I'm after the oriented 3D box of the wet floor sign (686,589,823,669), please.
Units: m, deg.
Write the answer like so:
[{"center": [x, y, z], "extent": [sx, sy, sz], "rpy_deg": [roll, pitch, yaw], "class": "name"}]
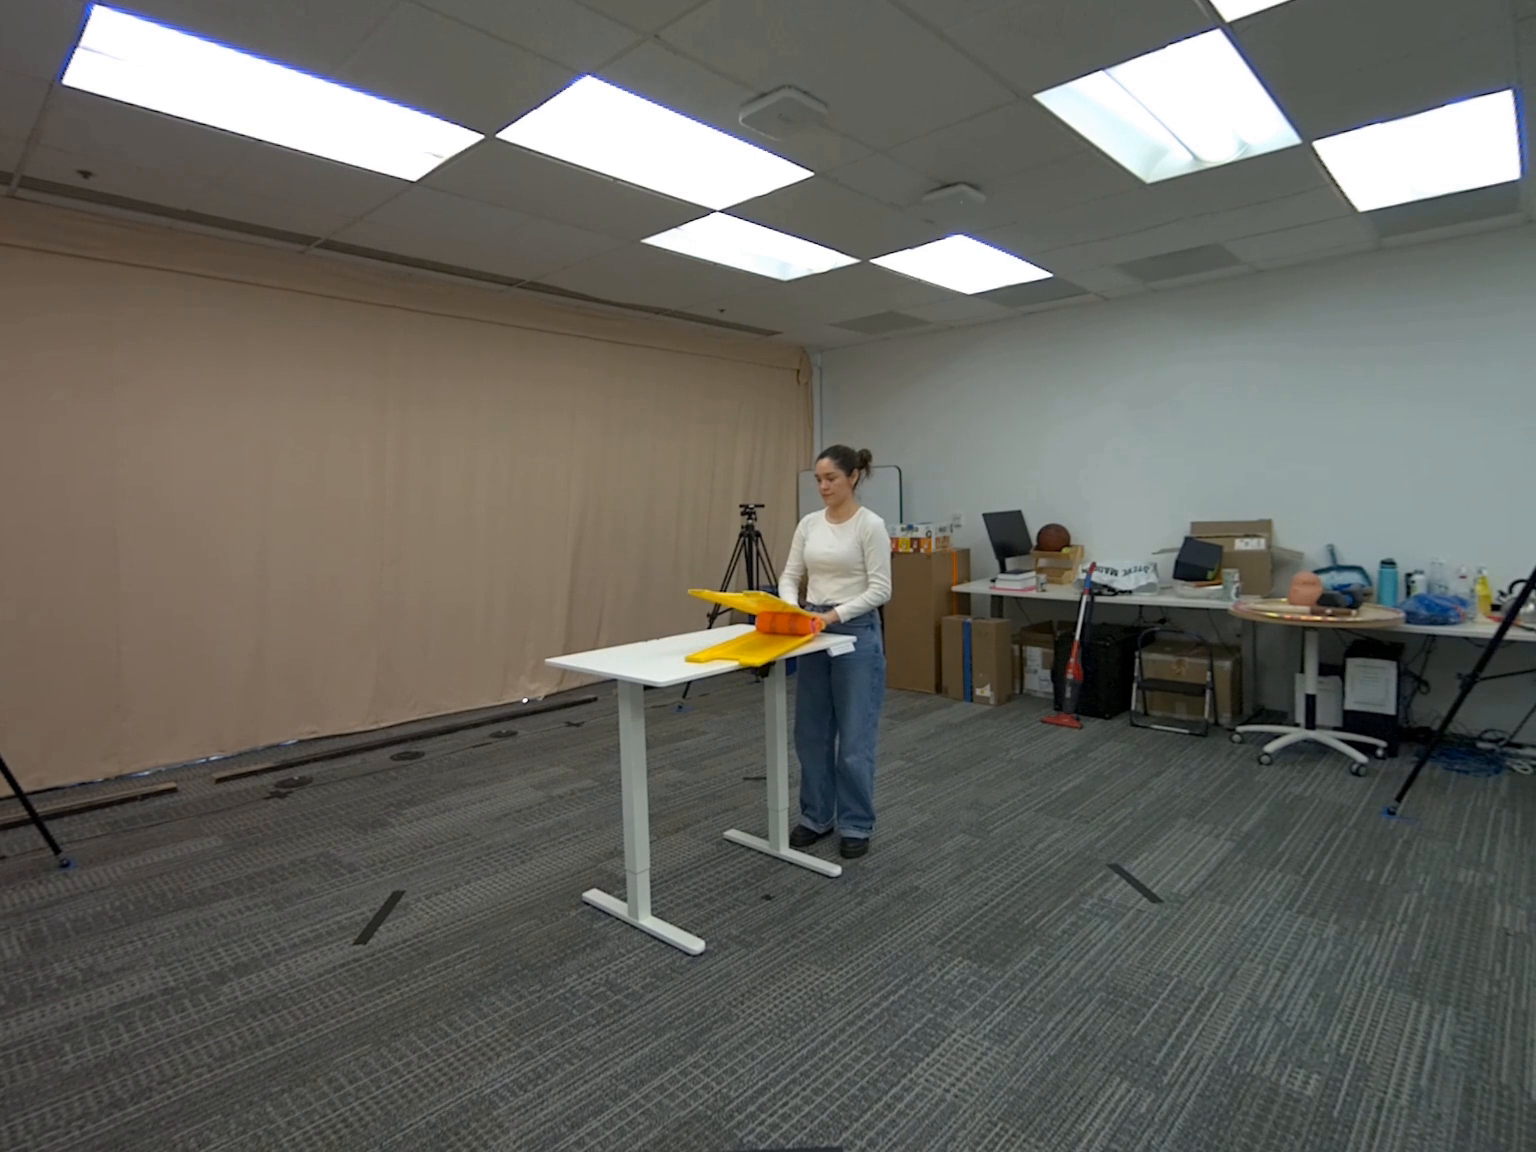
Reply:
[{"center": [0.002, 0.183, 2.987], "extent": [0.290, 0.290, 0.628], "rpy_deg": [1, -1, 27], "class": "wet floor sign"}]
